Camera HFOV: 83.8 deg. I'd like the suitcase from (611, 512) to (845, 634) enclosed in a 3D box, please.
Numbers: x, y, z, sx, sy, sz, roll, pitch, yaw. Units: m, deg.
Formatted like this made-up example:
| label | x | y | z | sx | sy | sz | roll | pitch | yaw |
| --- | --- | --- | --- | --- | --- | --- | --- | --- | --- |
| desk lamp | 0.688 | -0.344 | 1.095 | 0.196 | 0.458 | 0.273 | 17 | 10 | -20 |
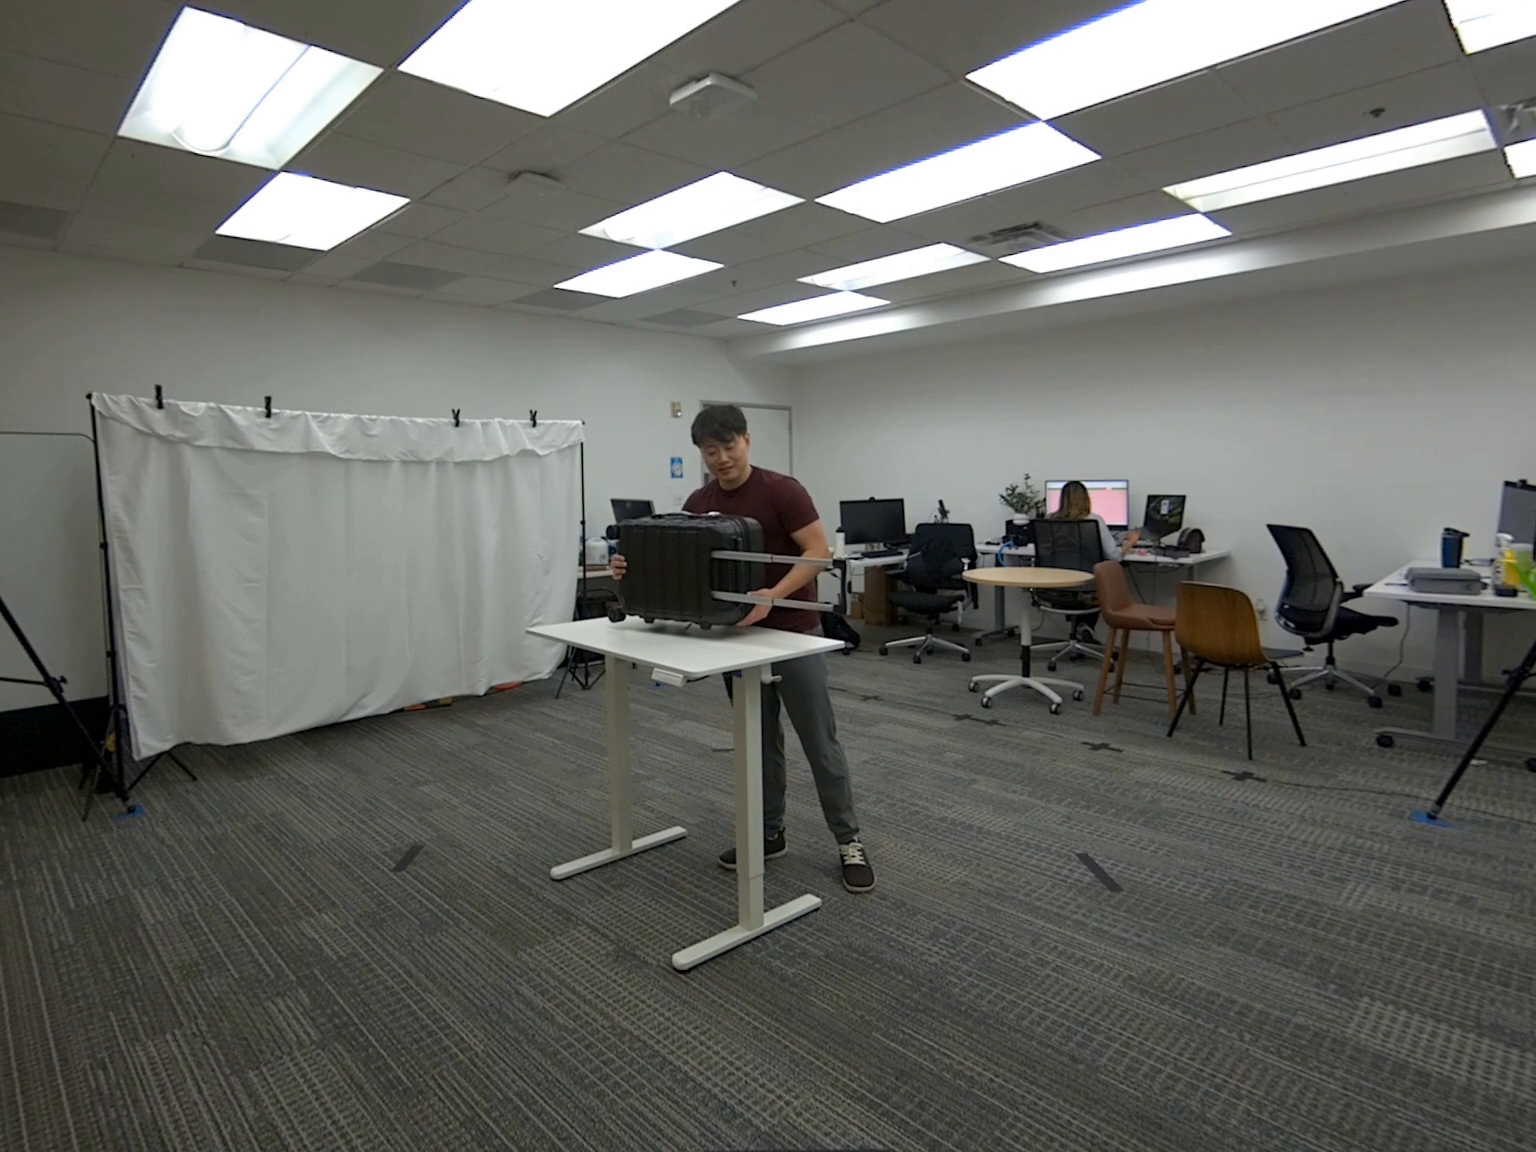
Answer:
| label | x | y | z | sx | sy | sz | roll | pitch | yaw |
| --- | --- | --- | --- | --- | --- | --- | --- | --- | --- |
| suitcase | -0.113 | -0.011 | 2.787 | 1.007 | 0.383 | 0.250 | 2 | 6 | 39 |
